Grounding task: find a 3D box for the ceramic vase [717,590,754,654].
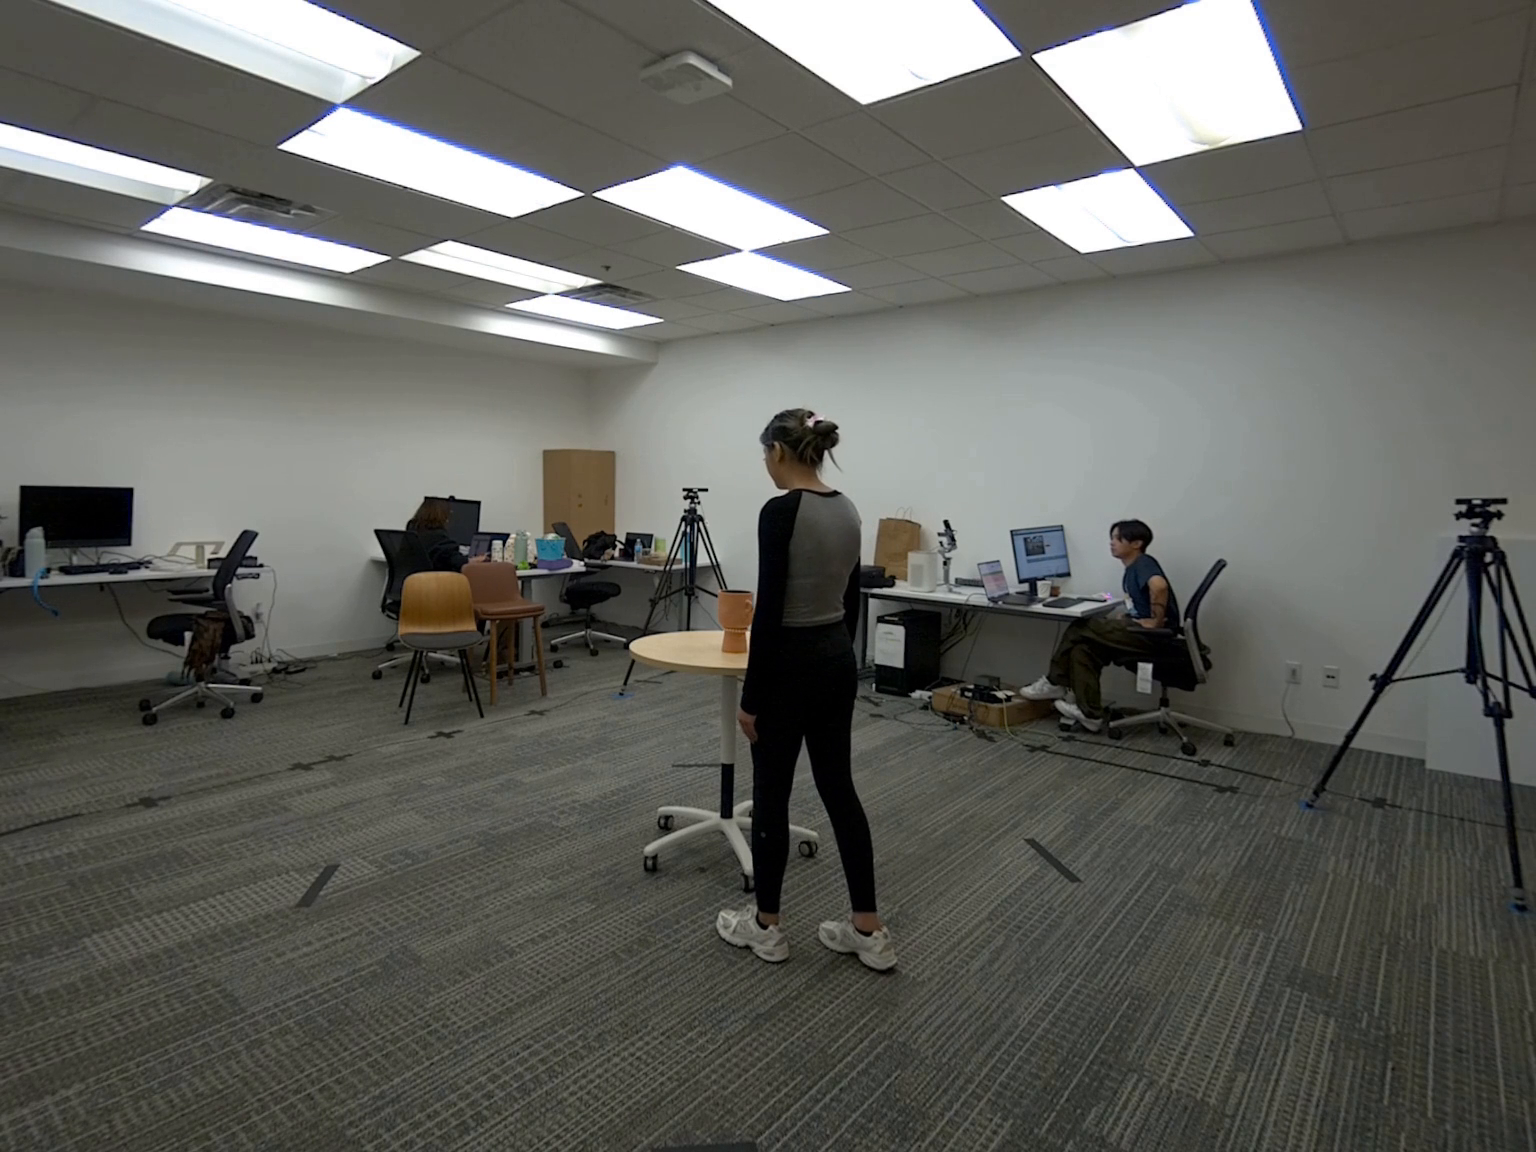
[{"bbox_3d":[-0.134,0.164,3.142,0.135,0.219,0.159,1,3,-1],"label":"ceramic vase"}]
